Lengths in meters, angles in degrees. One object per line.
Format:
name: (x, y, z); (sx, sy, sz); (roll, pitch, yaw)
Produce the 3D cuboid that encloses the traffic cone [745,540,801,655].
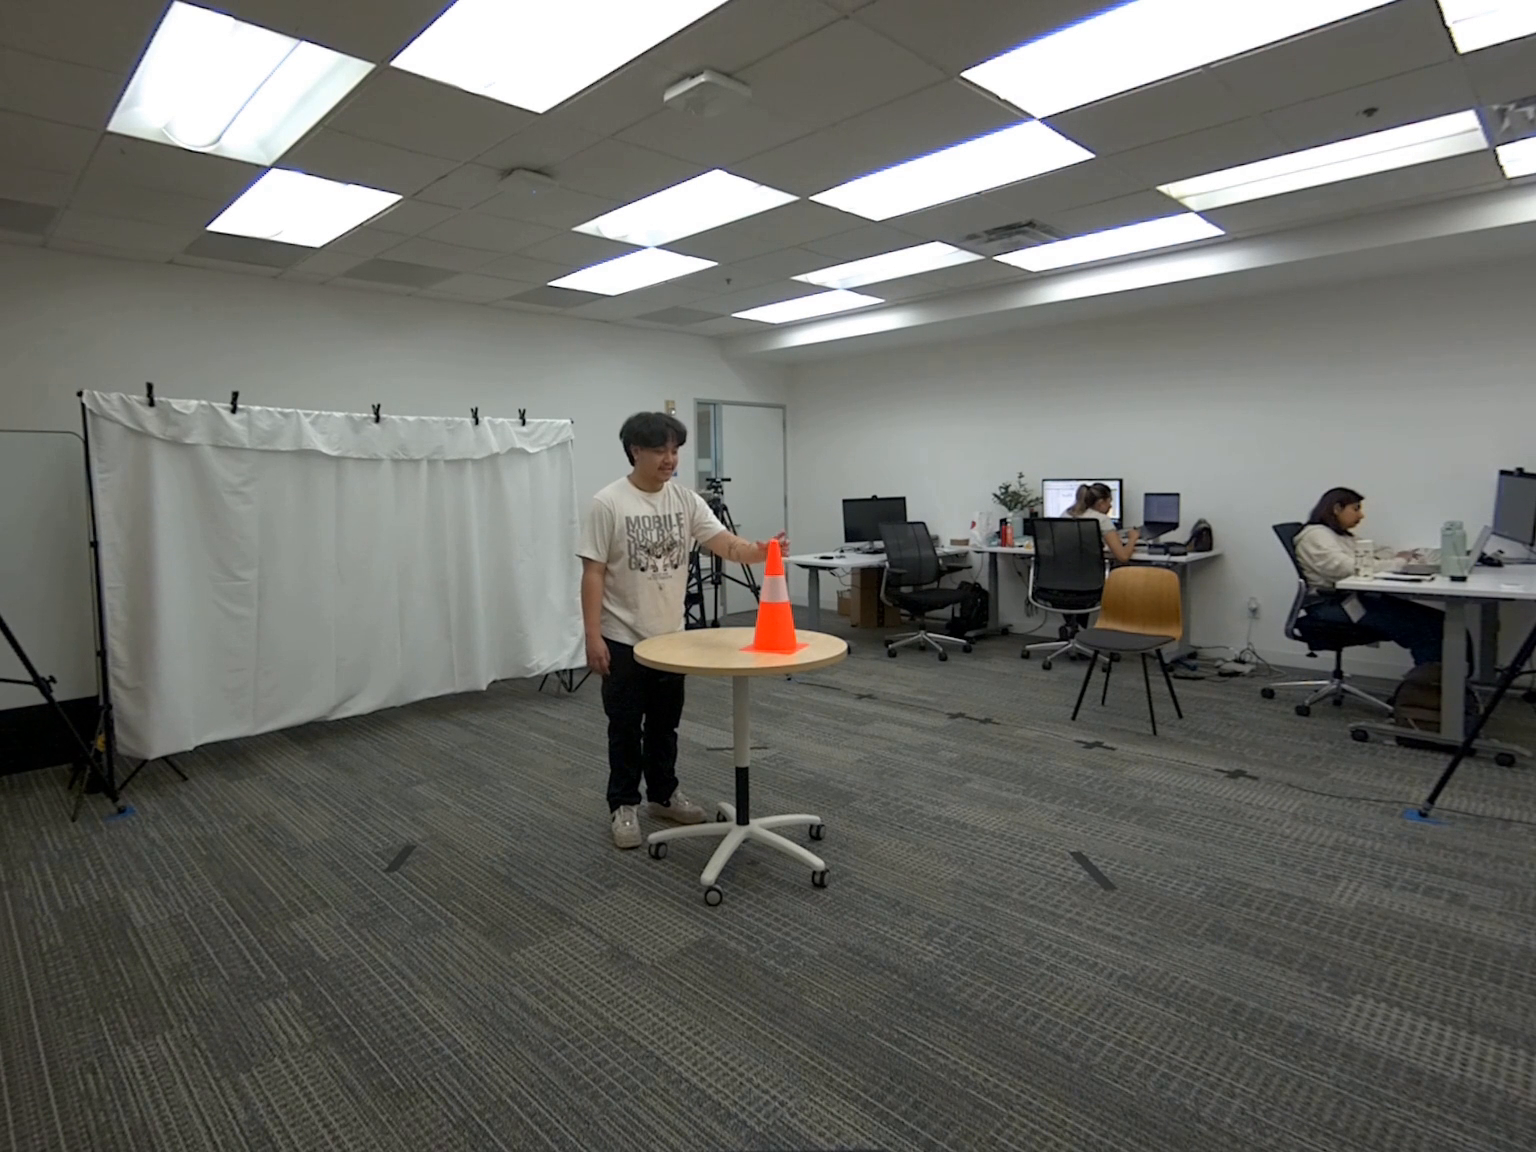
traffic cone: (0.023, 0.066, 3.010); (0.208, 0.382, 0.201); (0, 5, 24)
